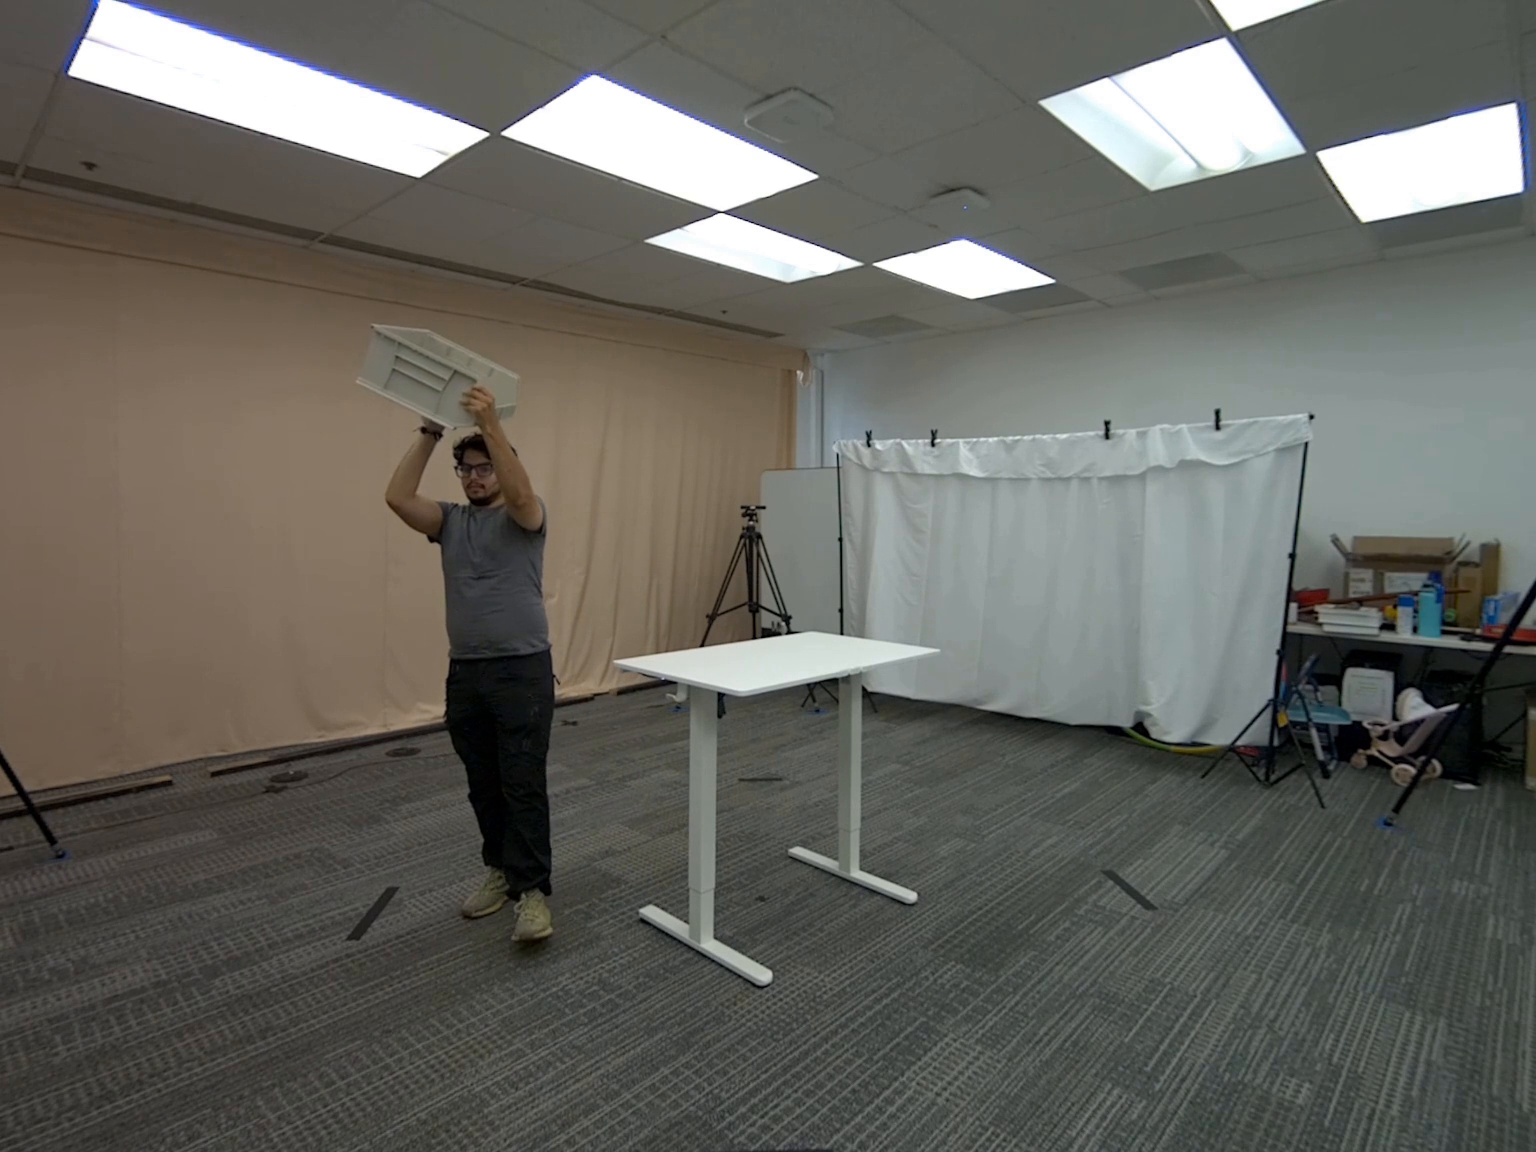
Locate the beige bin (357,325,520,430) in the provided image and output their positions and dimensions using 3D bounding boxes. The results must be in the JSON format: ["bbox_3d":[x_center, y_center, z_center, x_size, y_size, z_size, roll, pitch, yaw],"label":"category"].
[{"bbox_3d":[-1.002,-0.608,2.646,0.375,0.189,0.425,25,13,-6],"label":"beige bin"}]
